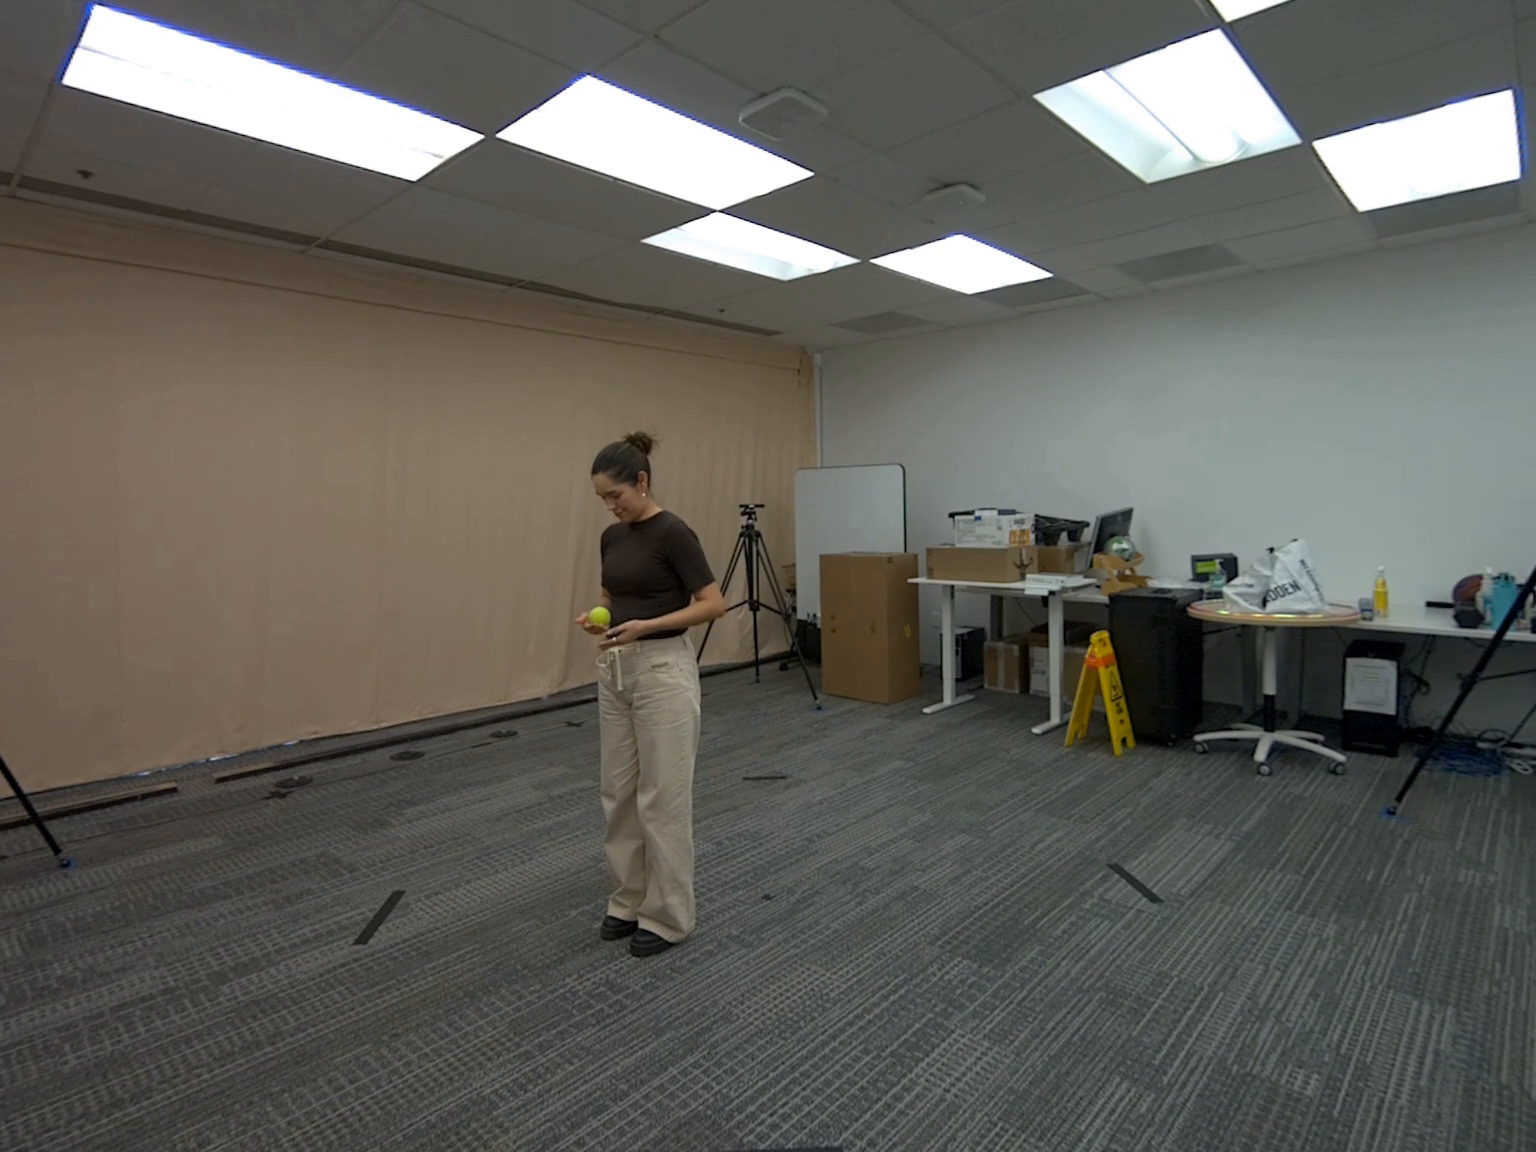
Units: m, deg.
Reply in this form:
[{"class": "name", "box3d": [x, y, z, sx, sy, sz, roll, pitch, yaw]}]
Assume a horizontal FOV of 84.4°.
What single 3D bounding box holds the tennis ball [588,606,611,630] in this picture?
[{"class": "tennis ball", "box3d": [-0.523, 0.132, 2.655, 0.066, 0.066, 0.067, -1, 4, -2]}]
